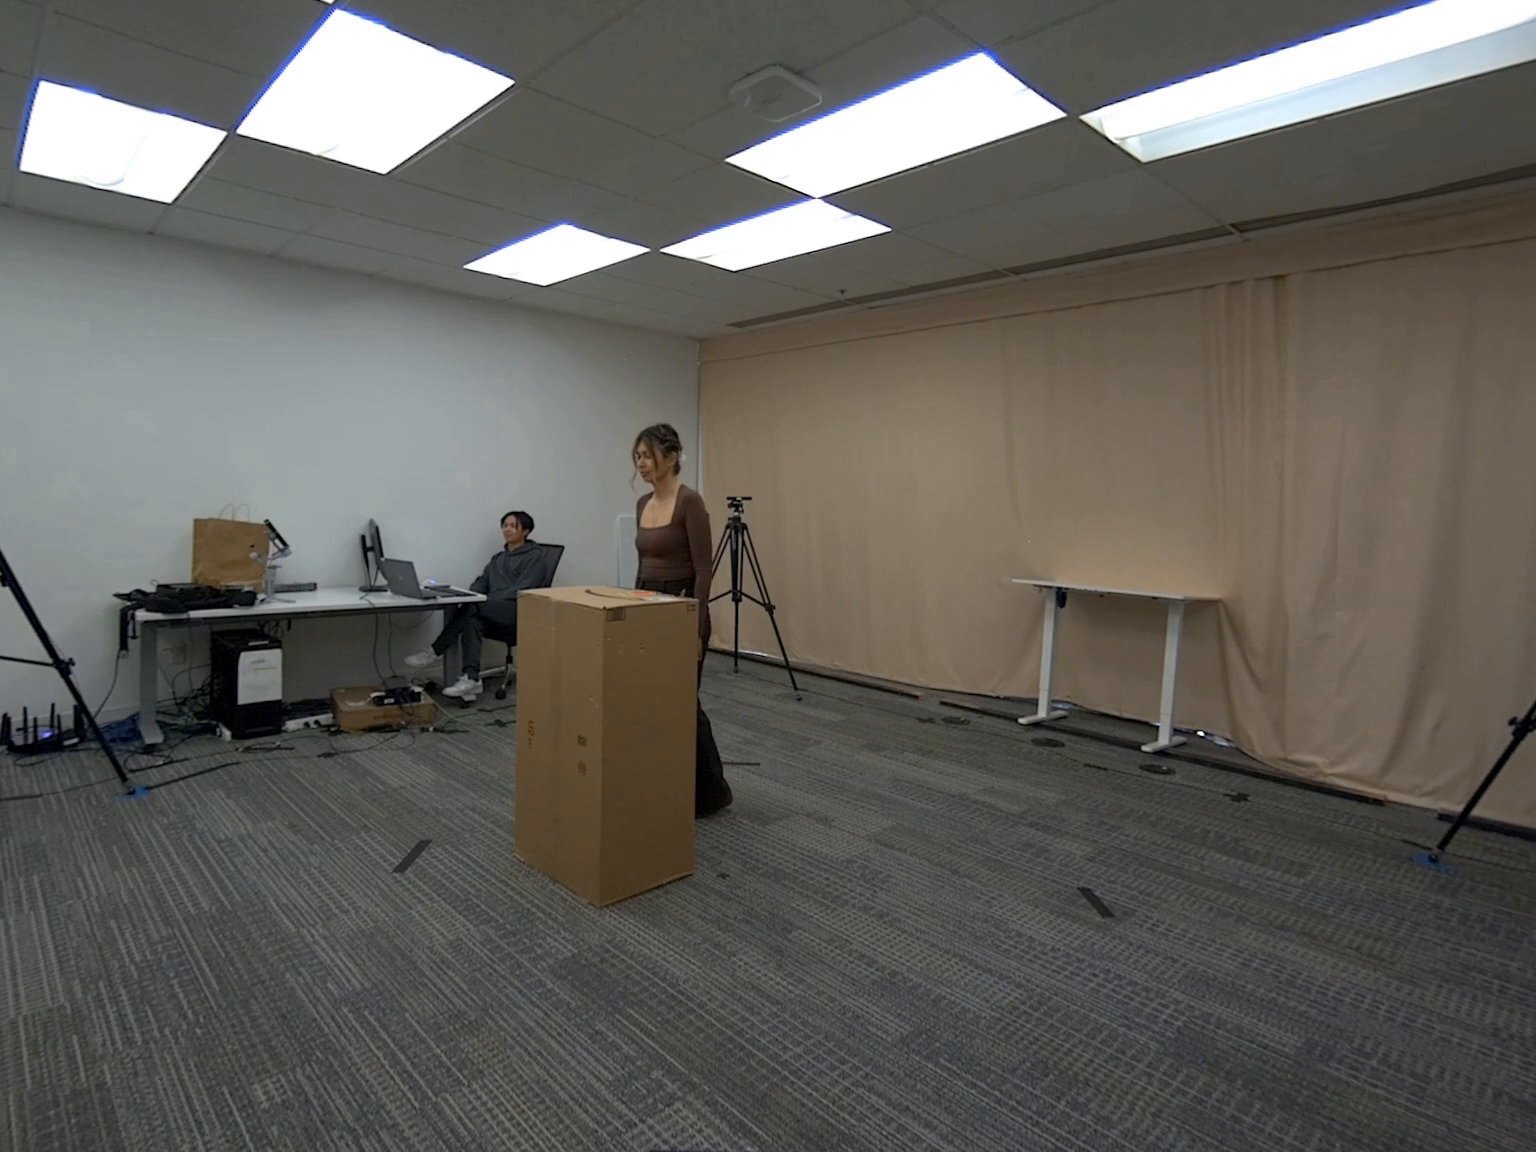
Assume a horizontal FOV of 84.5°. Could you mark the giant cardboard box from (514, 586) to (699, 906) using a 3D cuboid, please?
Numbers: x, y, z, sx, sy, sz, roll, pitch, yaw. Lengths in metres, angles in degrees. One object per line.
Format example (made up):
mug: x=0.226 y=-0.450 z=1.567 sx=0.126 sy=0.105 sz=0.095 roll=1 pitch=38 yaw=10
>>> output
giant cardboard box: x=-0.617 y=0.580 z=3.149 sx=0.436 sy=1.025 sz=0.599 roll=0 pitch=4 yaw=-43
